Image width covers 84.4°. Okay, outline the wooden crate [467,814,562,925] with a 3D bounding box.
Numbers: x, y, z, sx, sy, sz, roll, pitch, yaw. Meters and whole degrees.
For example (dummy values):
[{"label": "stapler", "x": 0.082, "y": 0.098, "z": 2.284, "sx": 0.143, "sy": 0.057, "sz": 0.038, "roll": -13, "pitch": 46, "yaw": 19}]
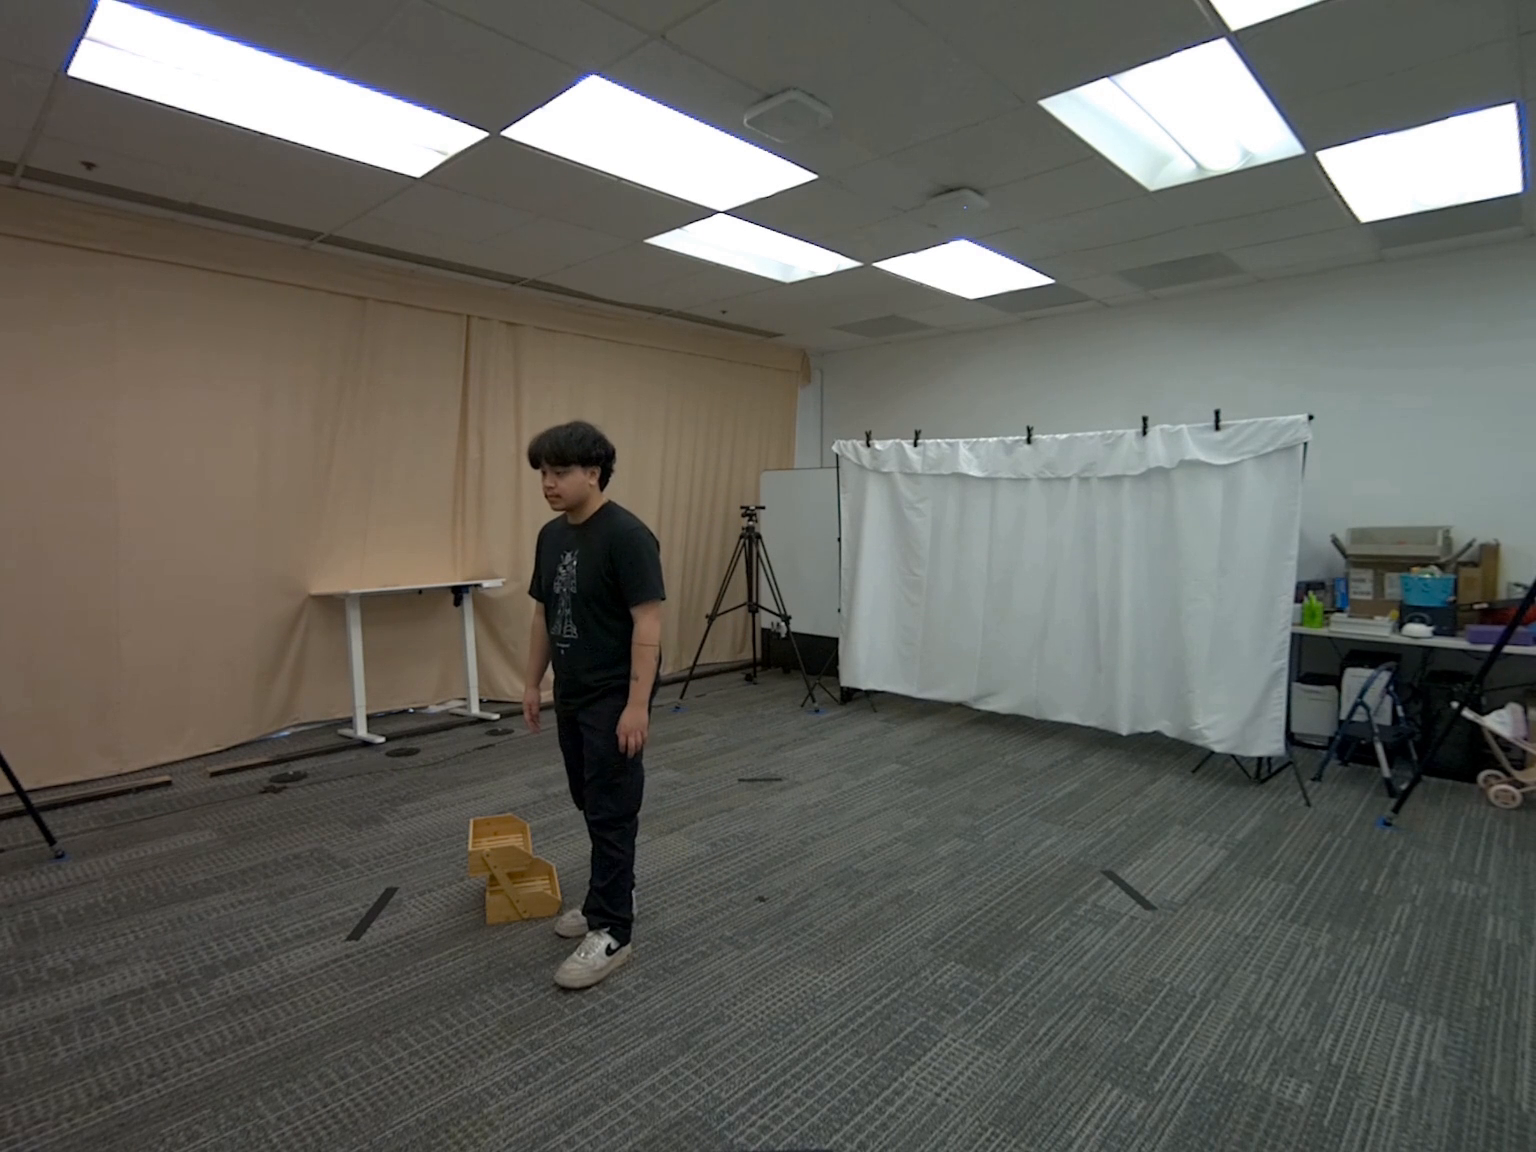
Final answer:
[{"label": "wooden crate", "x": -0.896, "y": 1.017, "z": 2.975, "sx": 0.297, "sy": 0.273, "sz": 0.331, "roll": -2, "pitch": 4, "yaw": -18}]
